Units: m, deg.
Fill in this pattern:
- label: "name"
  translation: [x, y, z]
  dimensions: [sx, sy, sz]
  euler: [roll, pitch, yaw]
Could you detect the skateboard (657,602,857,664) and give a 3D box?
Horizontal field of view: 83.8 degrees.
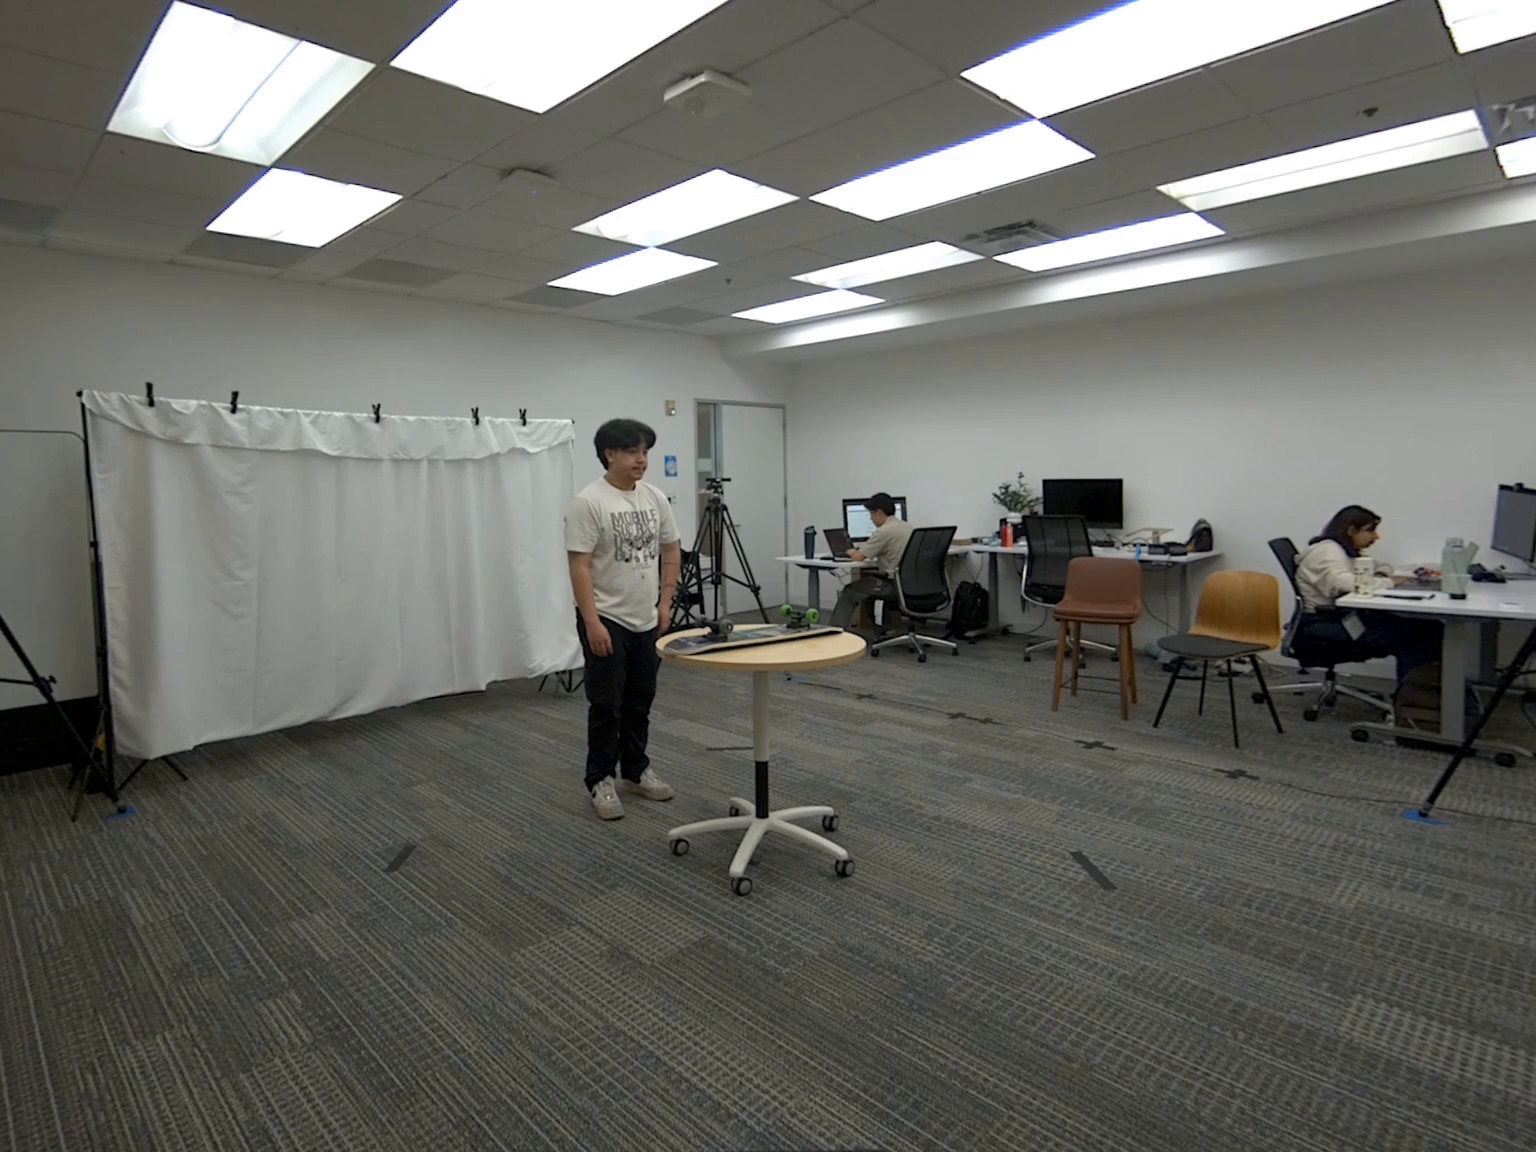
- label: "skateboard"
  translation: [-0.034, 0.198, 3.140]
  dimensions: [0.766, 0.110, 0.199]
  euler: [-6, 6, -35]
